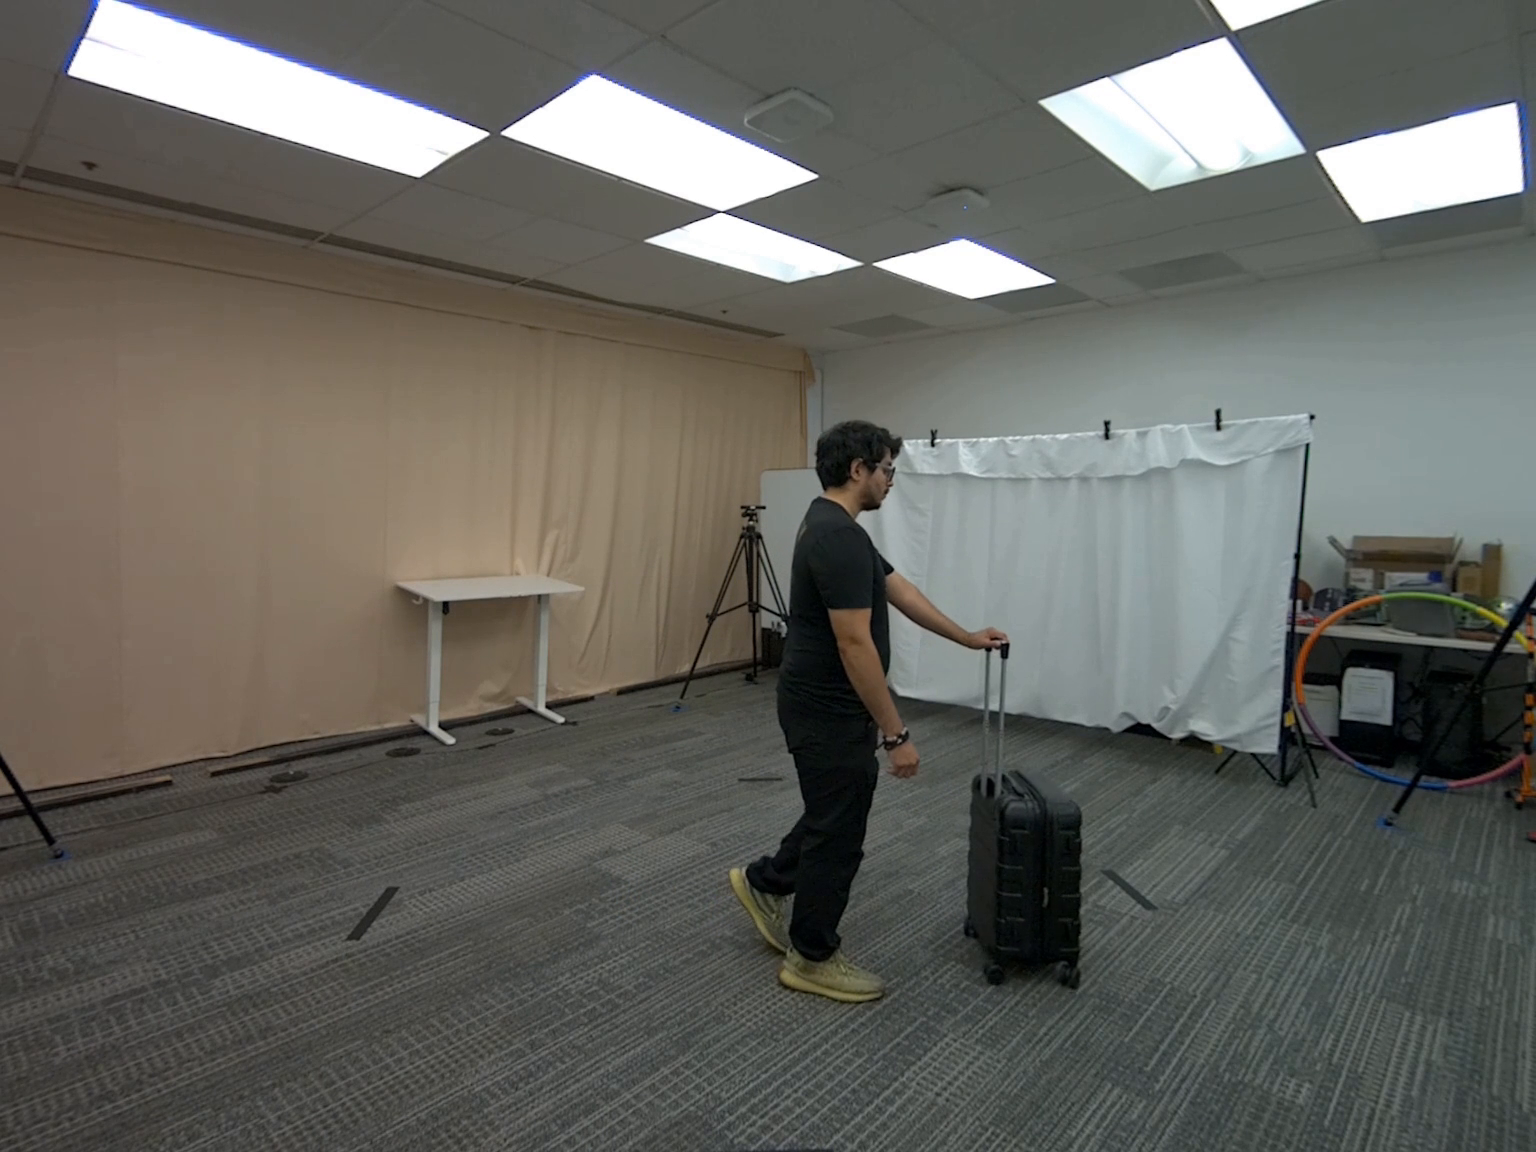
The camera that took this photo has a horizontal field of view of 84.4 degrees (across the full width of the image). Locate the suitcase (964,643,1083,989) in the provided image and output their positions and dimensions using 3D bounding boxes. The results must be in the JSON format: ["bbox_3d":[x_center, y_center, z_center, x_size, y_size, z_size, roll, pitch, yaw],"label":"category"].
[{"bbox_3d":[0.790,0.697,2.580,0.258,0.977,0.383,2,2,1],"label":"suitcase"}]
